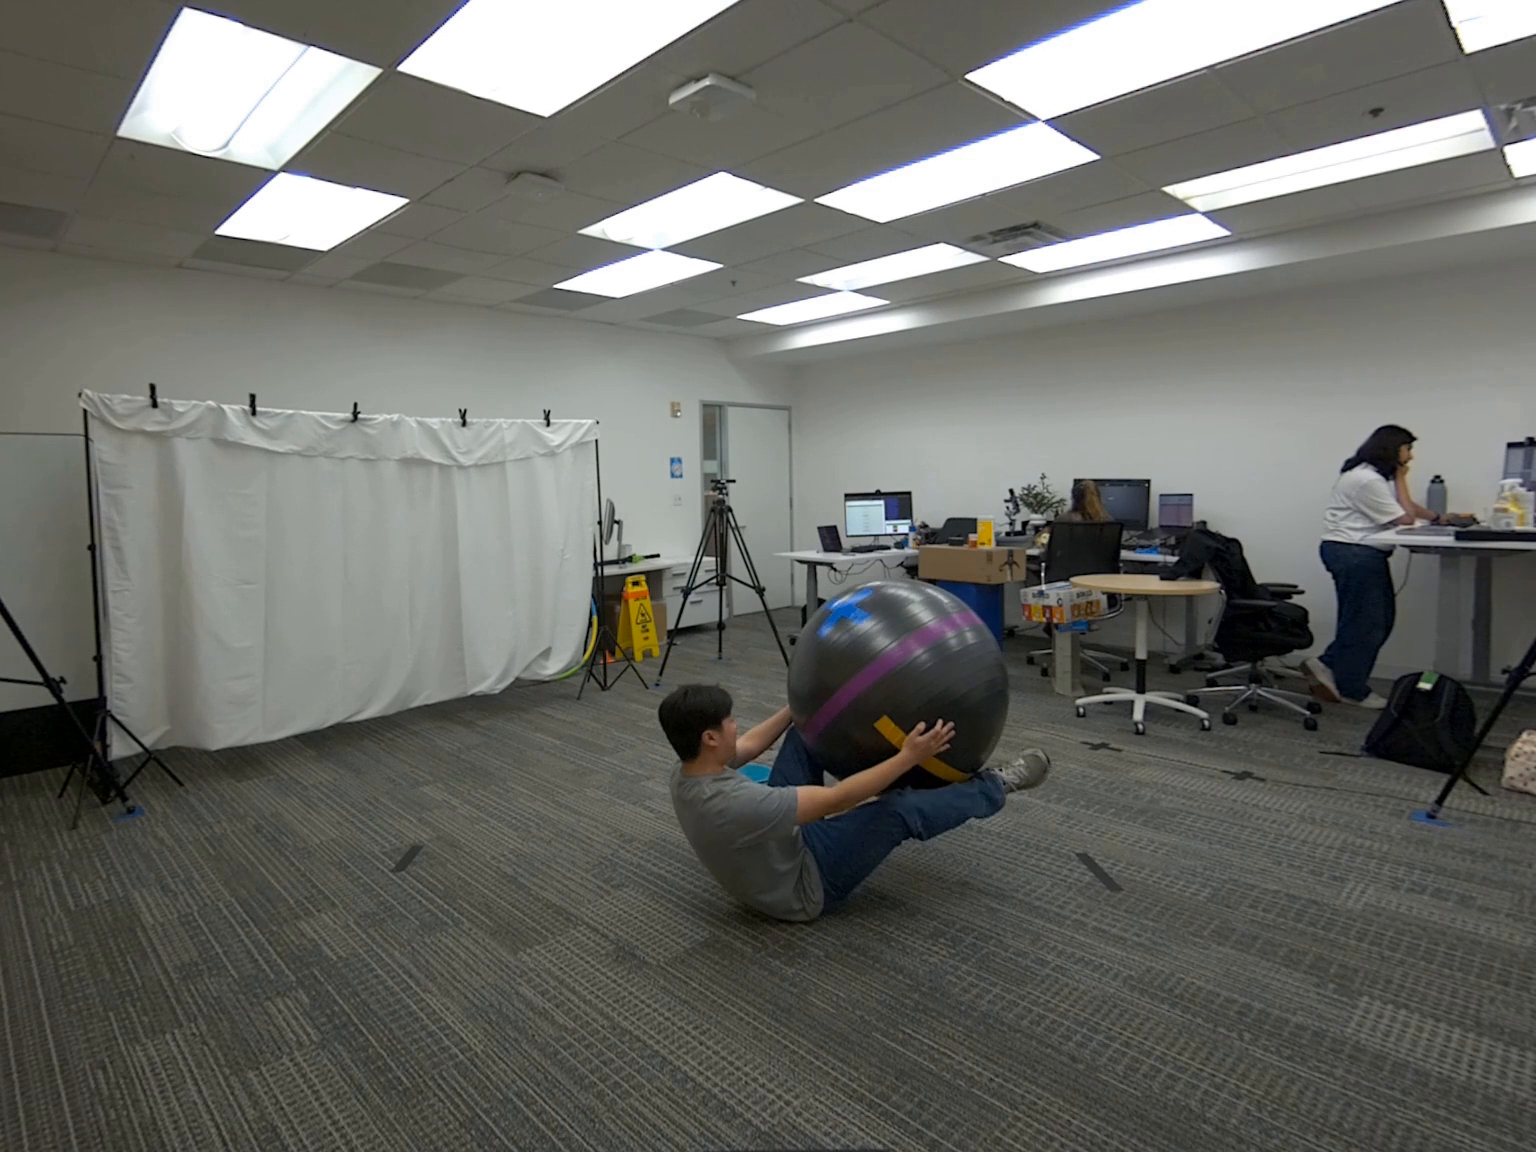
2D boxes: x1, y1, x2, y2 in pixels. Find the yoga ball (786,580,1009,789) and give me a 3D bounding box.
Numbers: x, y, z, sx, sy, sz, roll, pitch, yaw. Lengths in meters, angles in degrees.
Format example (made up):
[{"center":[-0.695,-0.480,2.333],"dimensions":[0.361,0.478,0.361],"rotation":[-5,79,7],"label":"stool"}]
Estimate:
[{"center":[0.456,0.393,2.983],"dimensions":[0.757,0.755,0.762],"rotation":[-1,5,-2],"label":"yoga ball"}]
